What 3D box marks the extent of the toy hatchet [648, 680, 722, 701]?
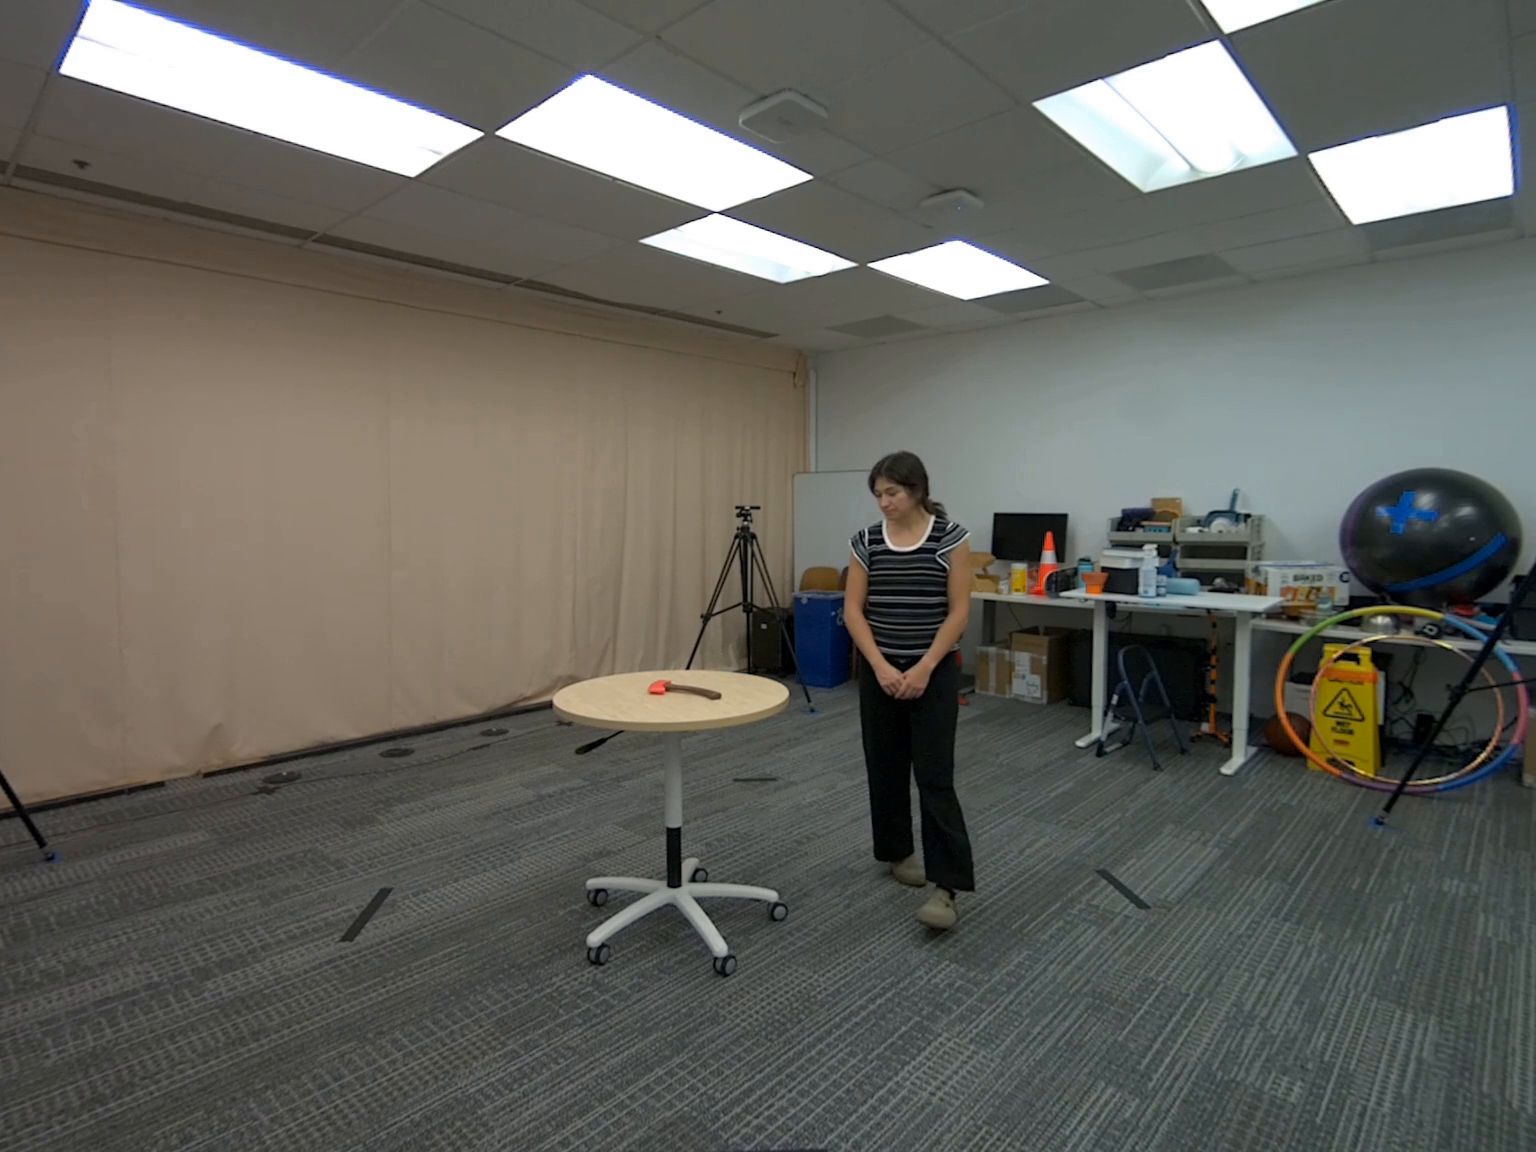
[{"bbox_3d":[-0.277,0.371,2.709,0.127,0.029,0.279,-6,8,-43],"label":"toy hatchet"}]
